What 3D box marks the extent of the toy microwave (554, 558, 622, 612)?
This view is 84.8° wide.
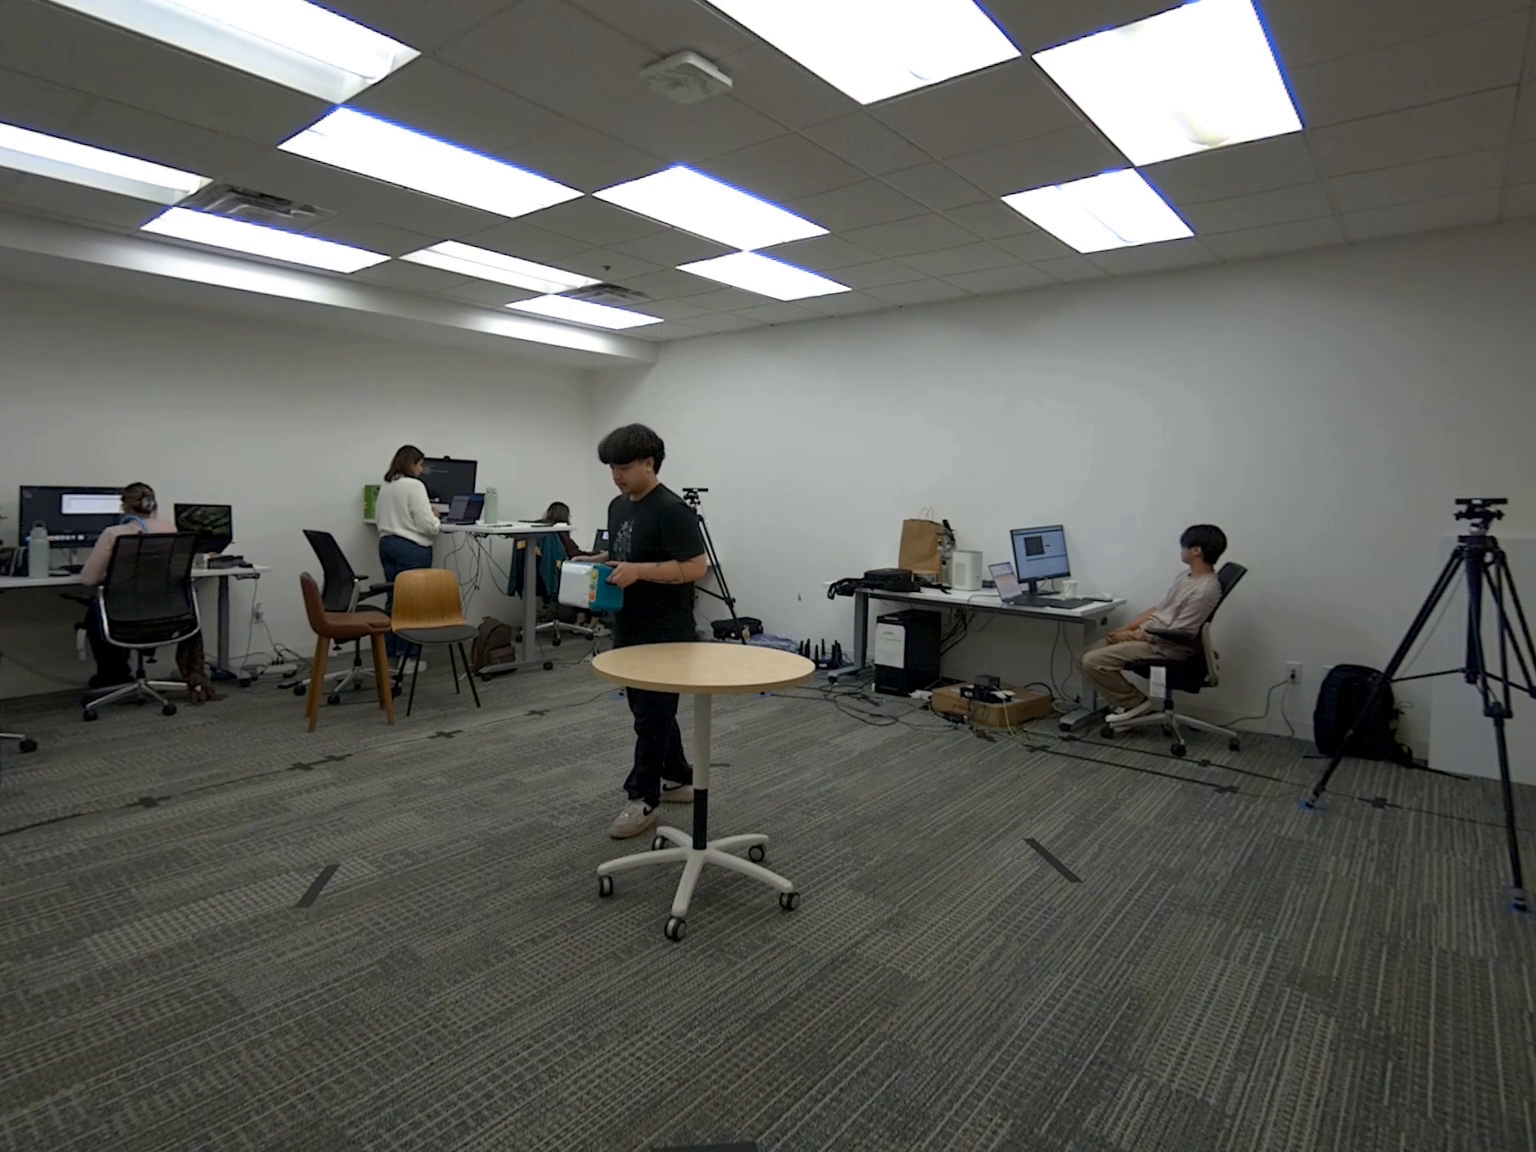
[{"bbox_3d":[-0.713,0.033,3.393,0.147,0.184,0.296,7,-2,-44],"label":"toy microwave"}]
